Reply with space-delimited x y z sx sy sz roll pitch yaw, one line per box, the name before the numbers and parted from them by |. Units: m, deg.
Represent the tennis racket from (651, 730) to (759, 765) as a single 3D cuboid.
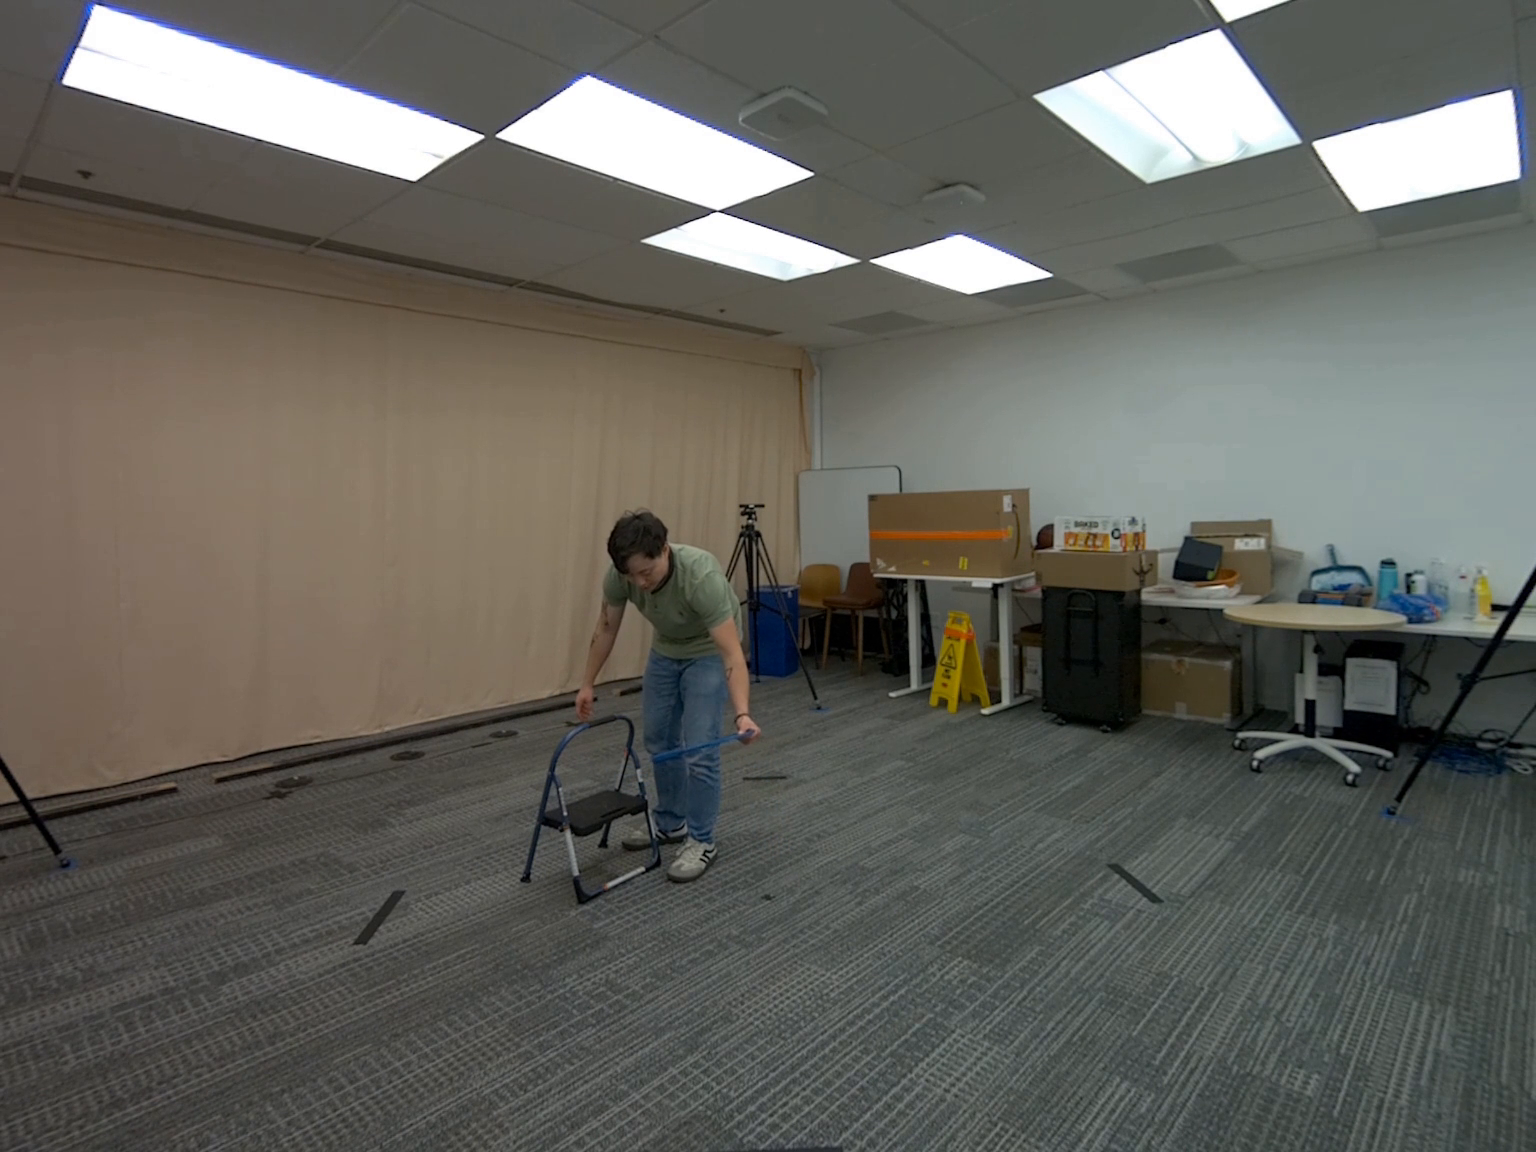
tennis racket | -0.239 0.579 2.847 0.442 0.032 0.207 -21 -9 33
